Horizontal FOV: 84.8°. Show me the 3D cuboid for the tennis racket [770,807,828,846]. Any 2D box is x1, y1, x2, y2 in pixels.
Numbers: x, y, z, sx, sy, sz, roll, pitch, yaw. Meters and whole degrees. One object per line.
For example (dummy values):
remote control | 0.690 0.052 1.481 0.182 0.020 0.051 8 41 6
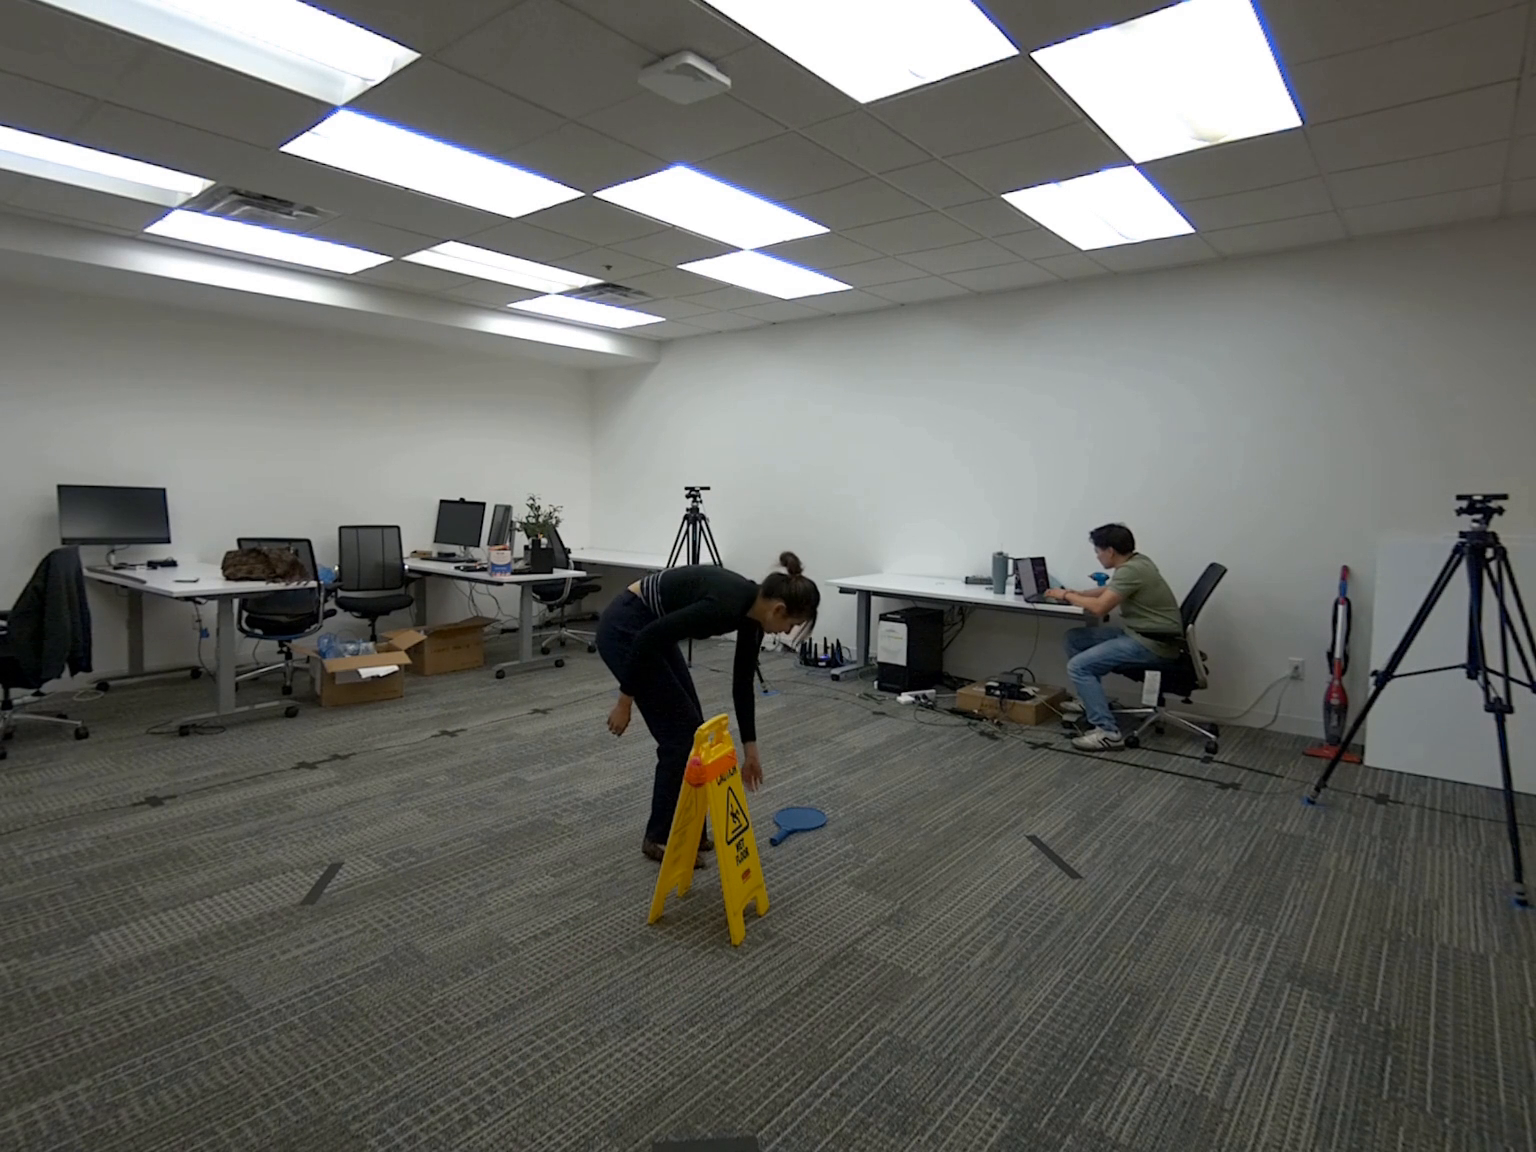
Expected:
tennis racket | 0.096 1.016 3.503 0.219 0.031 0.423 3 5 23
